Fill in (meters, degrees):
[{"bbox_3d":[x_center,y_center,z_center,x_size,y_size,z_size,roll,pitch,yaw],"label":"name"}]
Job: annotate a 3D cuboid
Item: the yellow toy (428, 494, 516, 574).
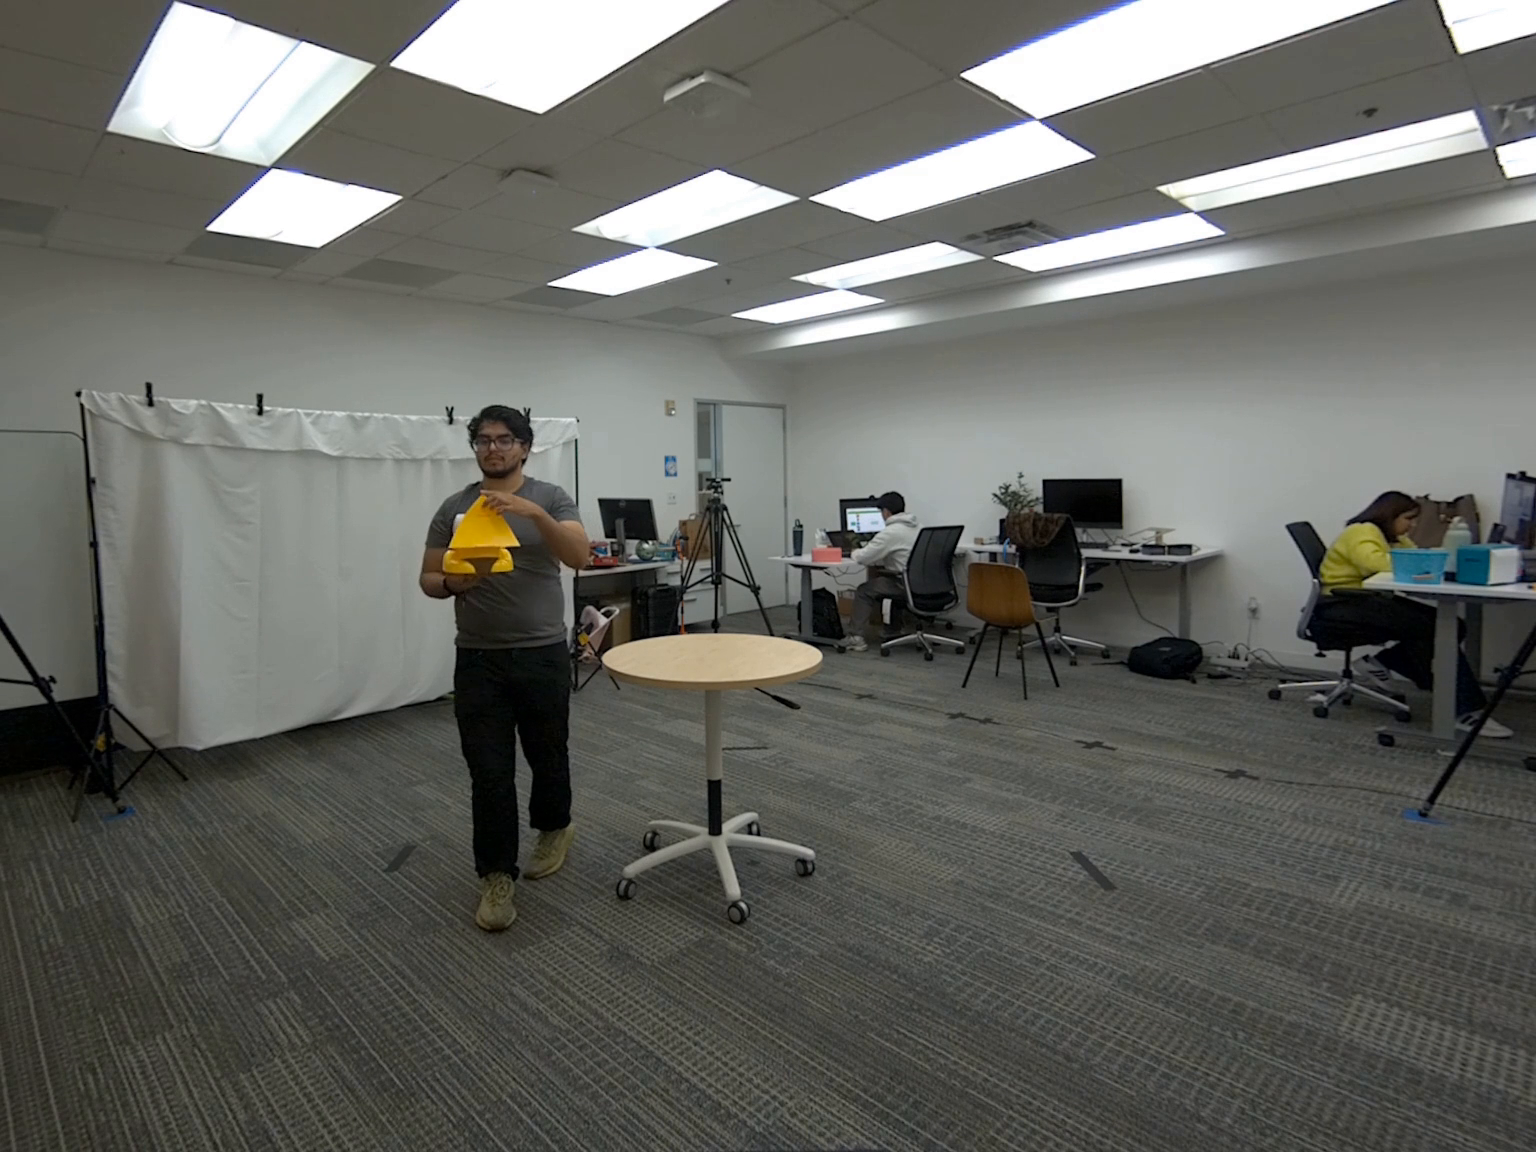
[{"bbox_3d":[-0.884,-0.129,2.555,0.200,0.229,0.198,-4,7,-30],"label":"yellow toy"}]
